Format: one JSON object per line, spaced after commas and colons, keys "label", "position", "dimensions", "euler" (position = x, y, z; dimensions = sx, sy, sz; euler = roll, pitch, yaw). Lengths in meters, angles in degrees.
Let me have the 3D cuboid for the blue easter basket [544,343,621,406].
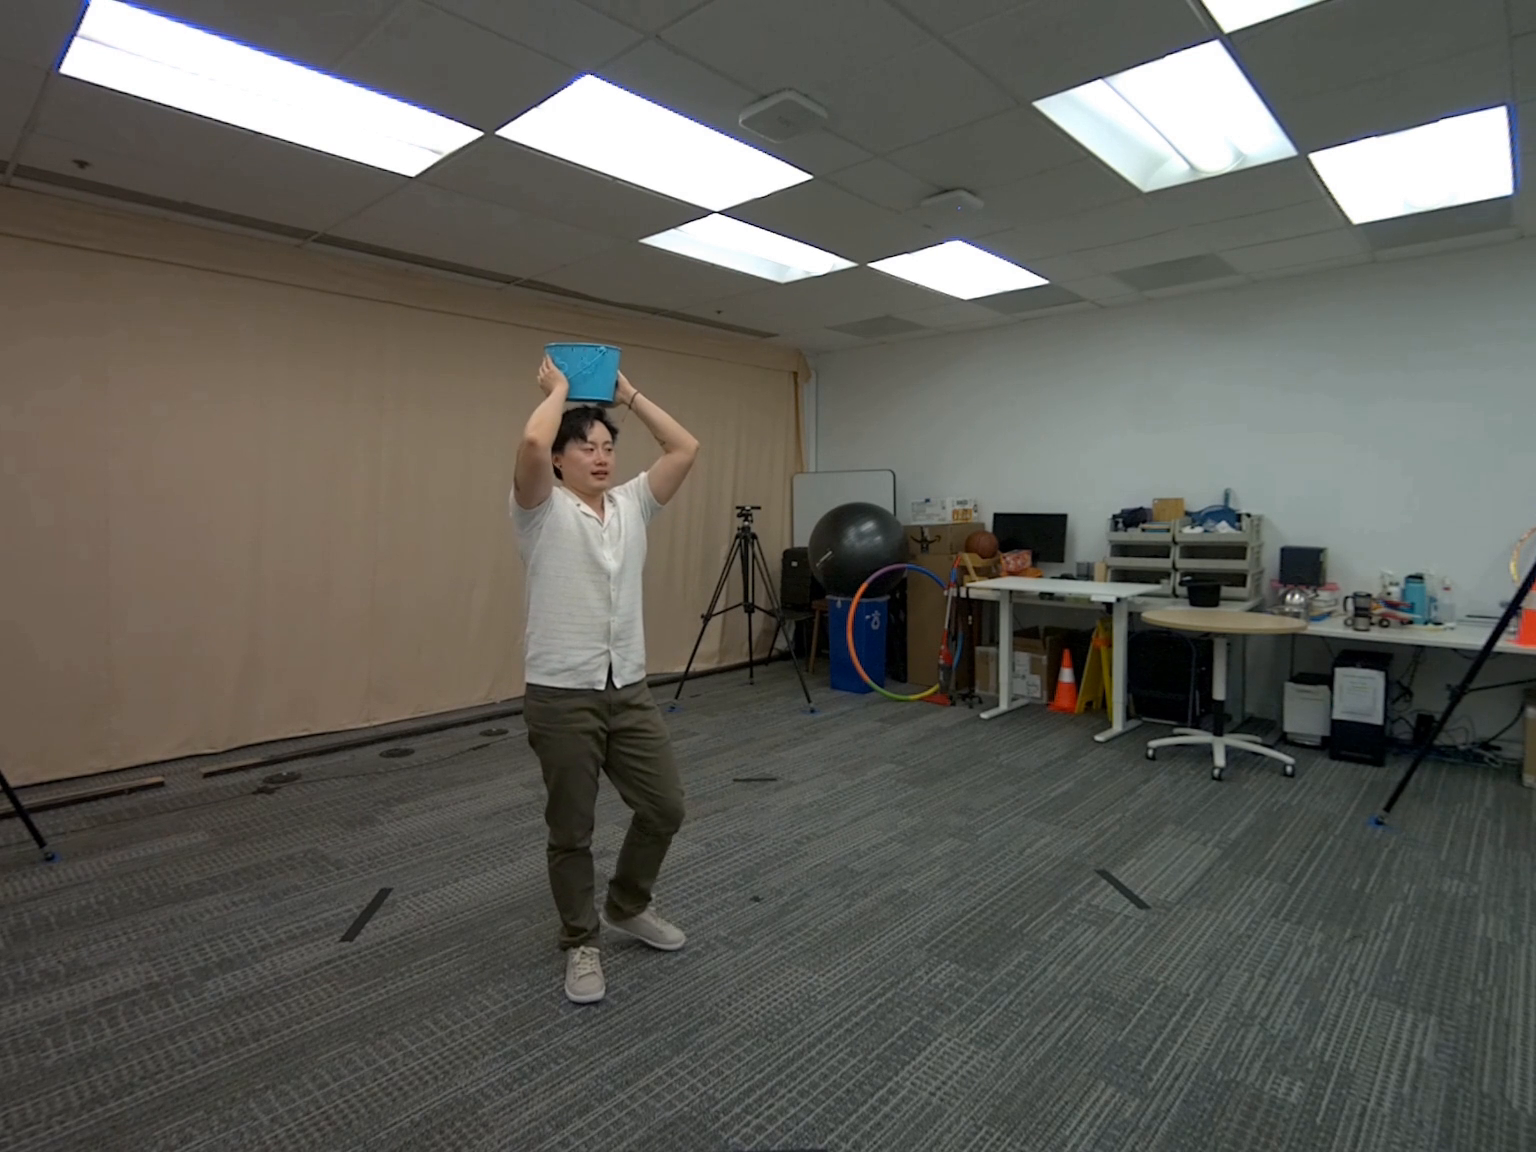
{"label": "blue easter basket", "position": [-0.557, -0.598, 2.487], "dimensions": [0.243, 0.155, 0.244], "euler": [0, 5, -2]}
